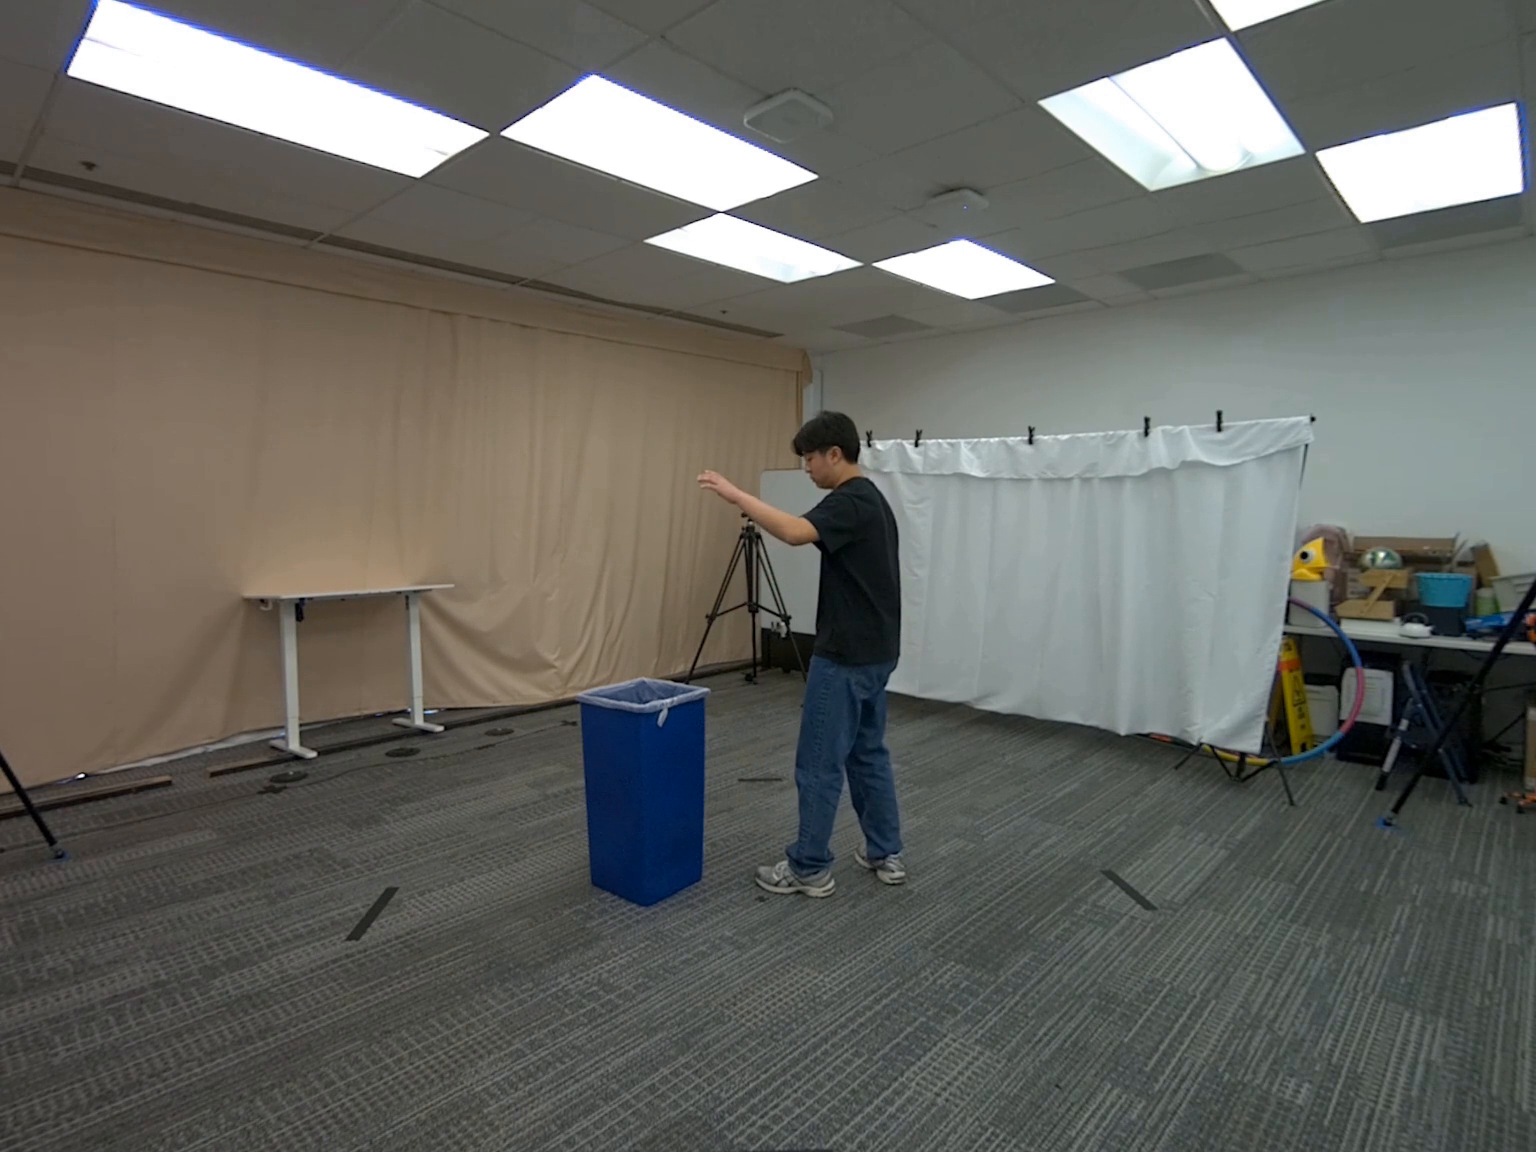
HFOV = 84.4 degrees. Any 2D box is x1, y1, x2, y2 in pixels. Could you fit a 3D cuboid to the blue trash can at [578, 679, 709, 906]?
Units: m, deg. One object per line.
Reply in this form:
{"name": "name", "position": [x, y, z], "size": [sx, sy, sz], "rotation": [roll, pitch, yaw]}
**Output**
{"name": "blue trash can", "position": [-0.463, 0.782, 3.118], "size": [0.386, 0.712, 0.366], "rotation": [2, 4, 39]}
